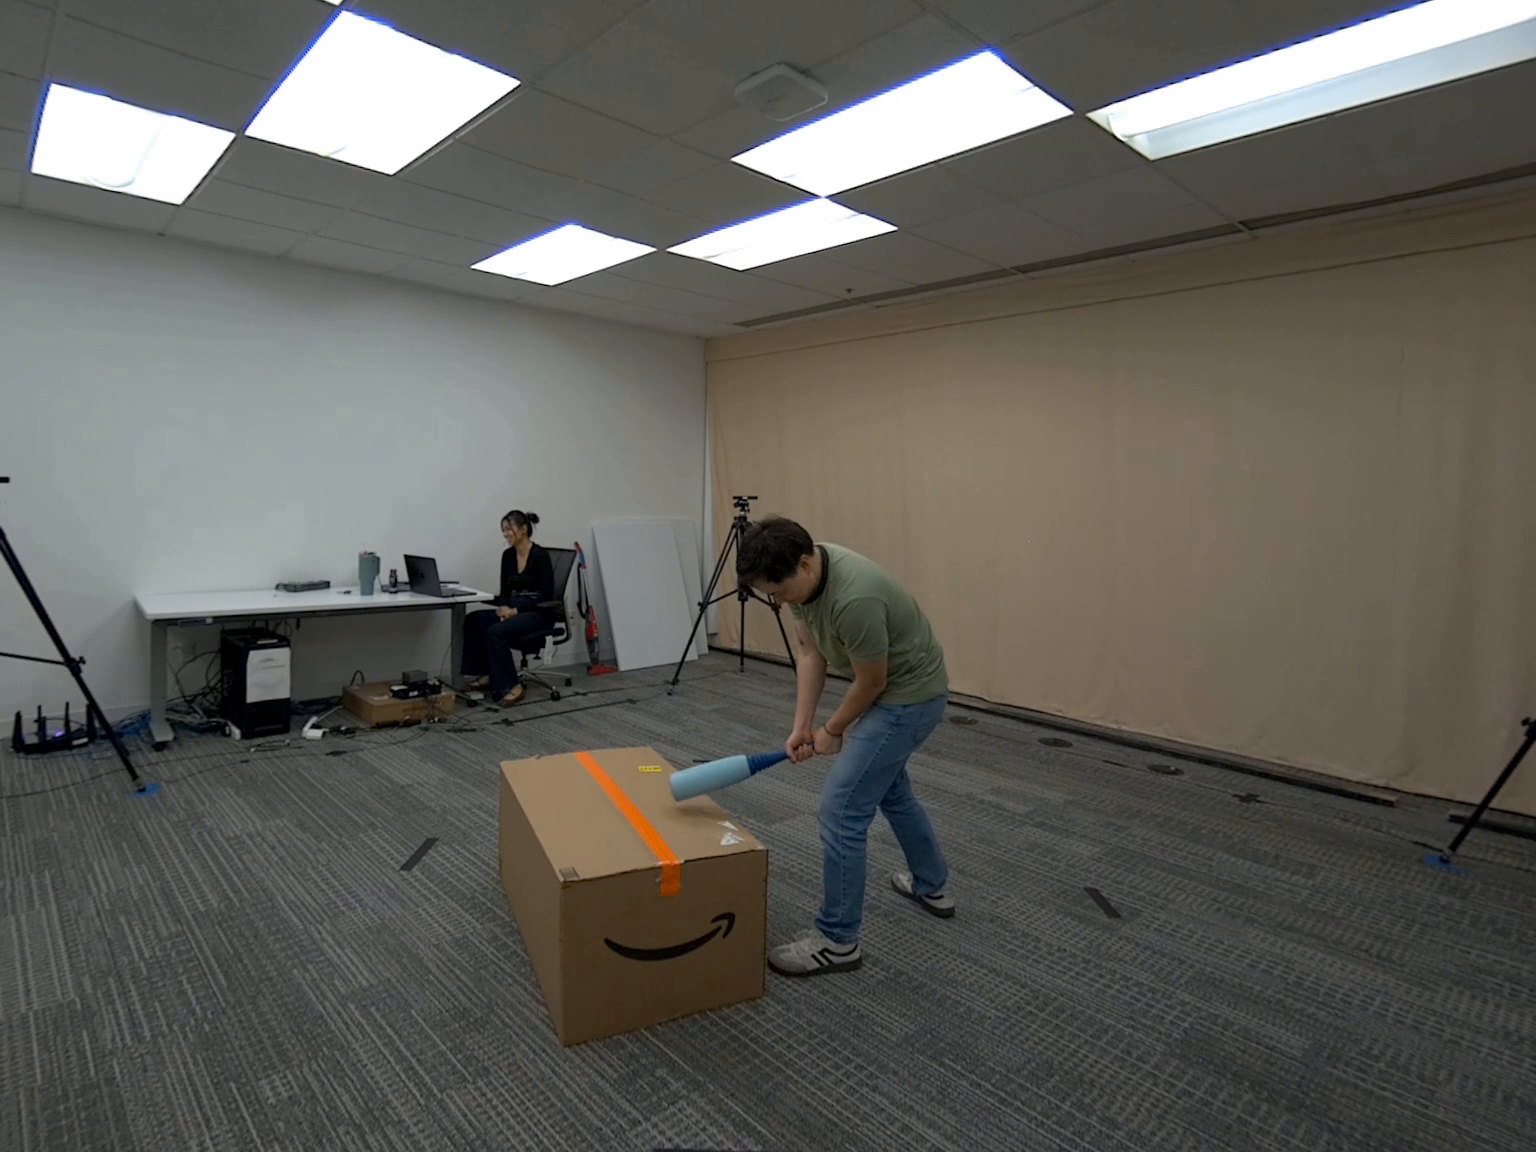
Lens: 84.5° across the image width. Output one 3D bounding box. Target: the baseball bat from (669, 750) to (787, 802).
[{"bbox_3d":[-0.054,0.569,2.611,0.543,0.089,0.089,-14,5,-1],"label":"baseball bat"}]
